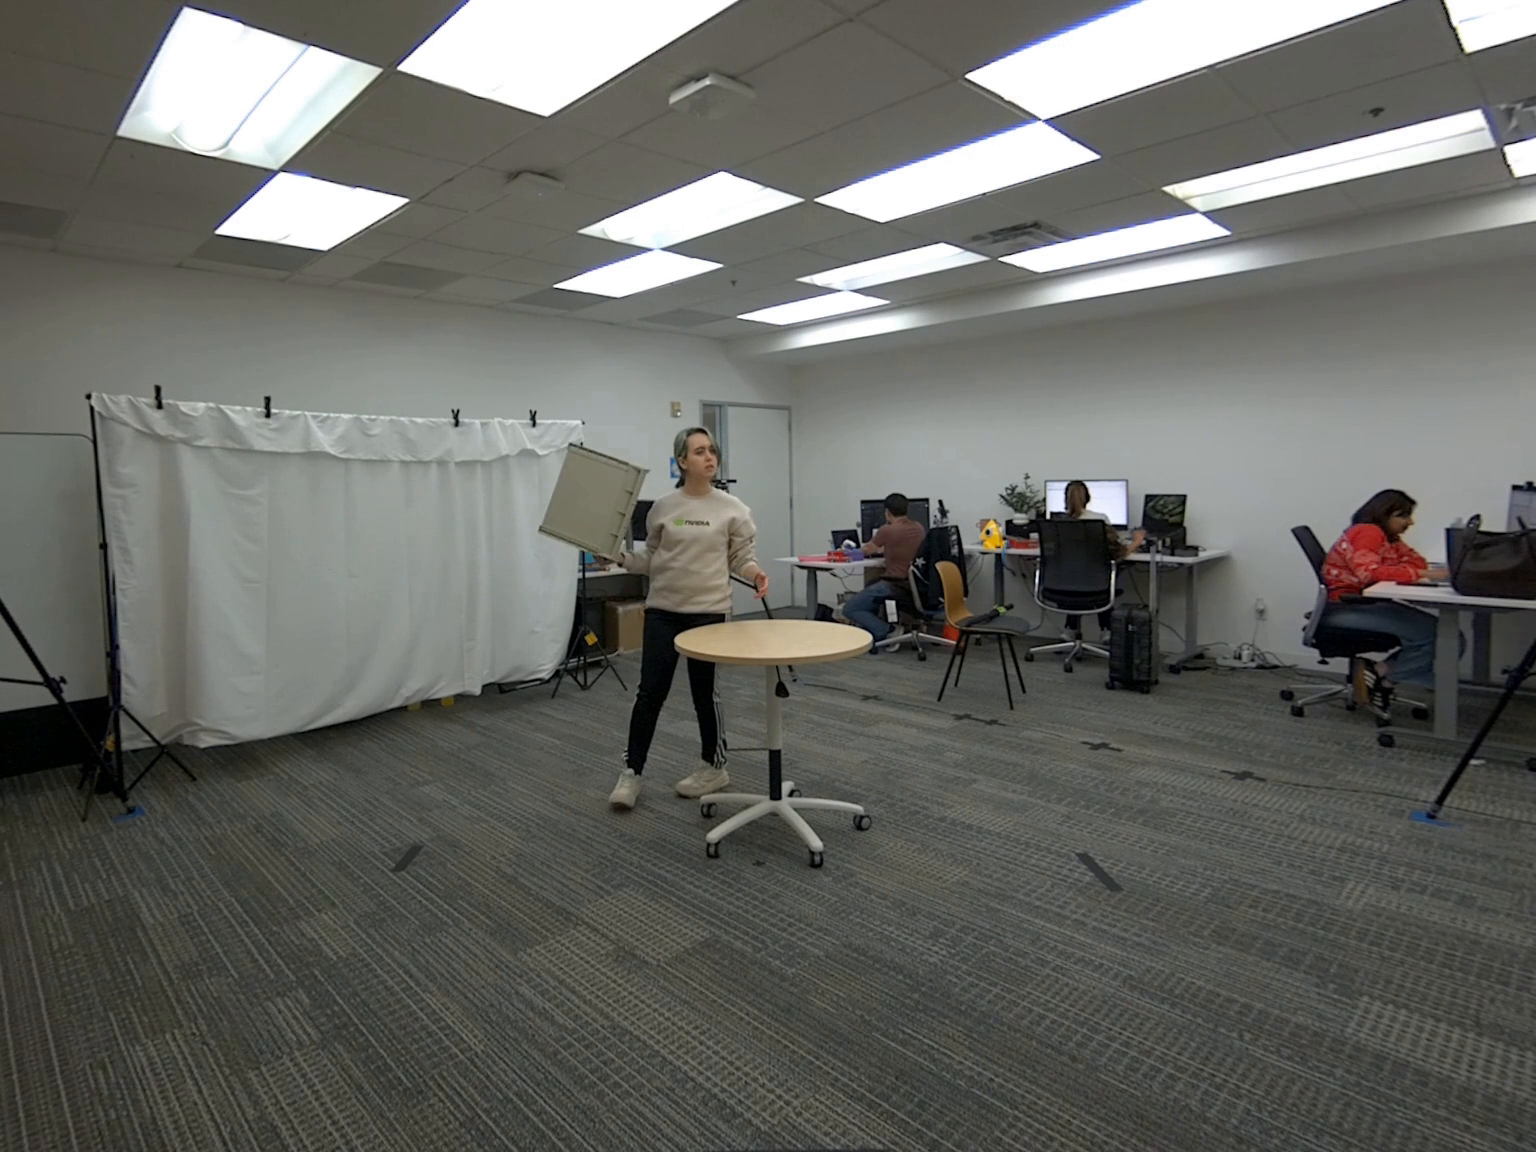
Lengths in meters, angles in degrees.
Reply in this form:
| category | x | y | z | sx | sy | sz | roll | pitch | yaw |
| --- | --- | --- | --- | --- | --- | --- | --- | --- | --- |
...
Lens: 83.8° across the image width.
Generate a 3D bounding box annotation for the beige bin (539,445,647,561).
| category | x | y | z | sx | sy | sz | roll | pitch | yaw |
| --- | --- | --- | --- | --- | --- | --- | --- | --- | --- |
| beige bin | -0.744 | -0.317 | 3.701 | 0.386 | 0.422 | 0.185 | 21 | 2 | 20 |
